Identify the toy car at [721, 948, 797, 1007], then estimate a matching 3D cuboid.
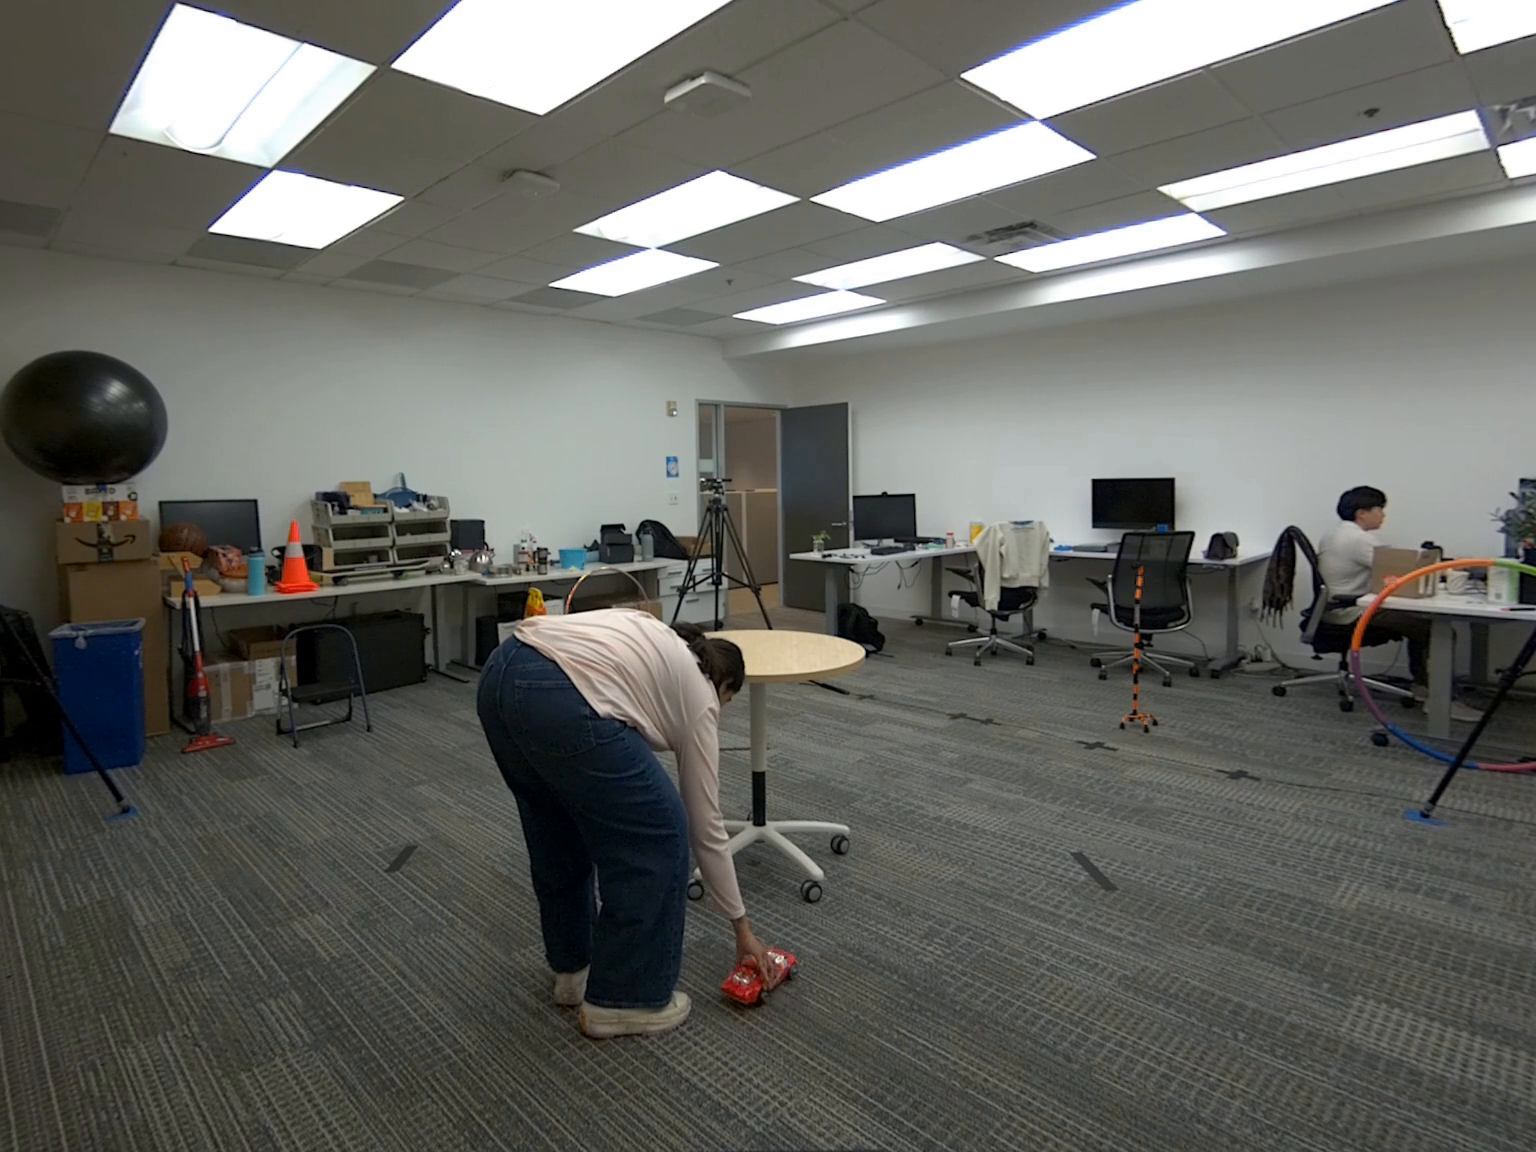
[{"bbox_3d":[-0.018,1.104,2.345,0.134,0.083,0.246,4,-2,36],"label":"toy car"}]
